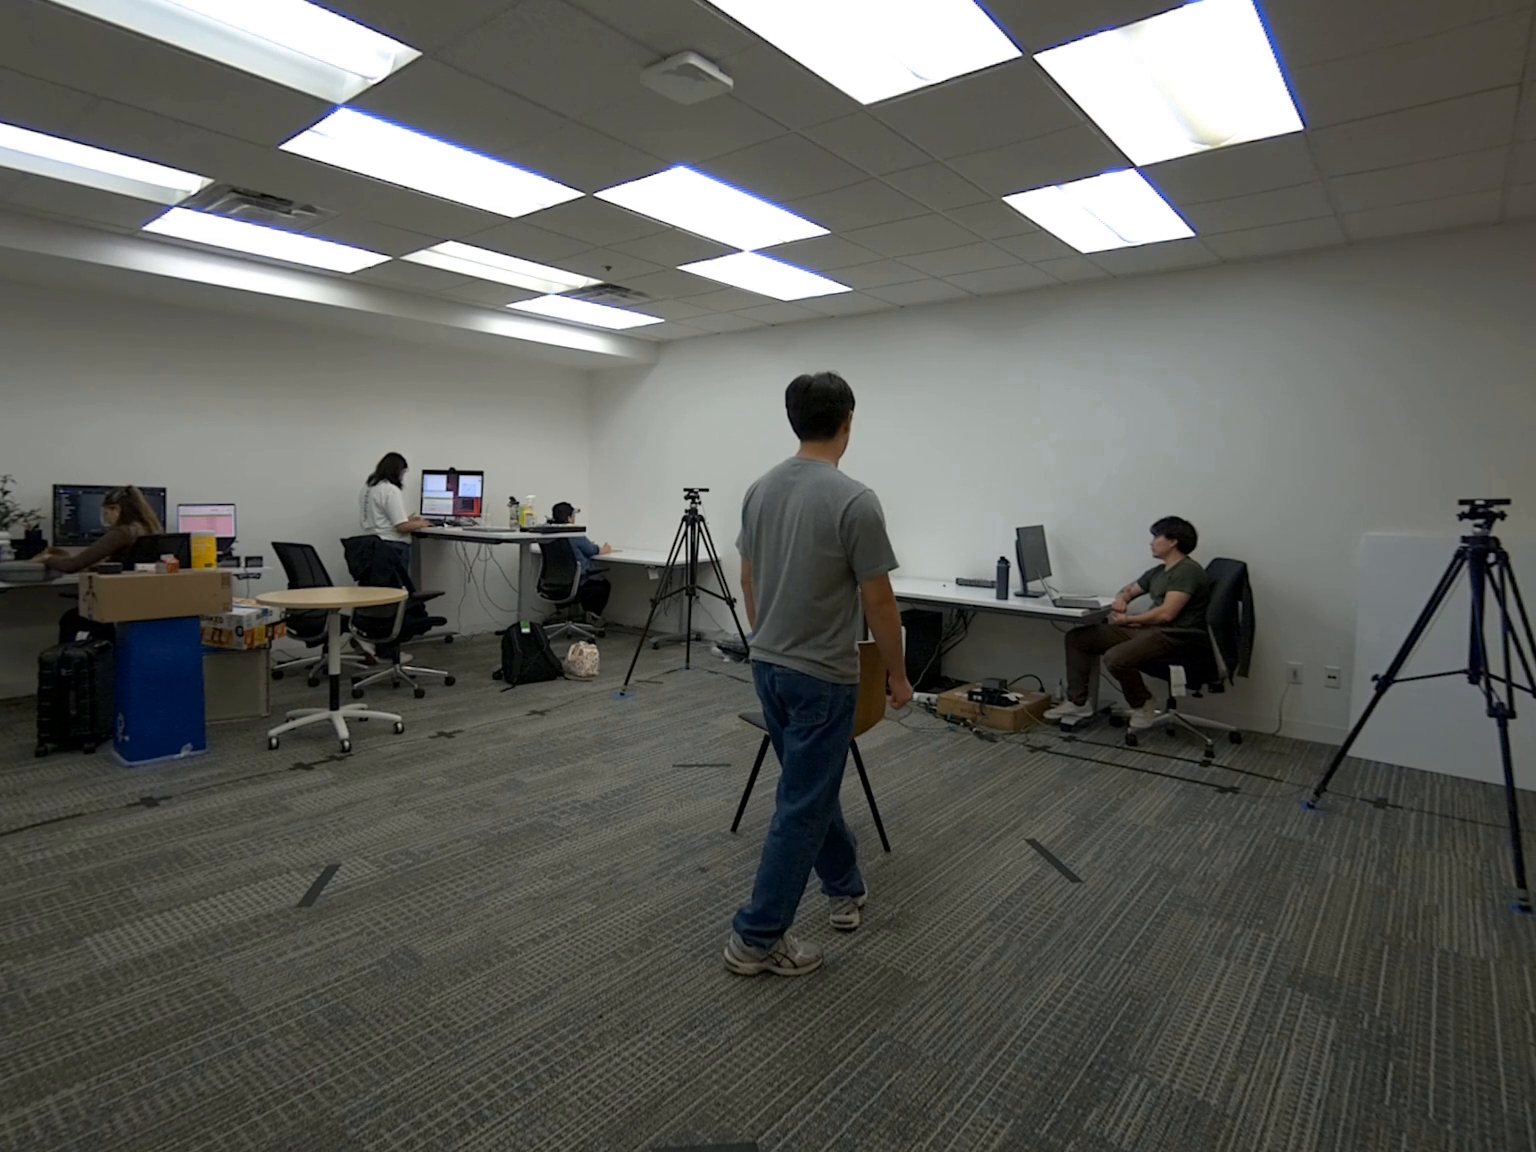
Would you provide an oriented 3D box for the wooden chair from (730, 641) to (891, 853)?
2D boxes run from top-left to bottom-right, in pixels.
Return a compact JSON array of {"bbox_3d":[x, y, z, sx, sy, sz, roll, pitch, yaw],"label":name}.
[{"bbox_3d":[0.155,0.623,3.357,0.464,0.872,0.541,-1,8,-33],"label":"wooden chair"}]
